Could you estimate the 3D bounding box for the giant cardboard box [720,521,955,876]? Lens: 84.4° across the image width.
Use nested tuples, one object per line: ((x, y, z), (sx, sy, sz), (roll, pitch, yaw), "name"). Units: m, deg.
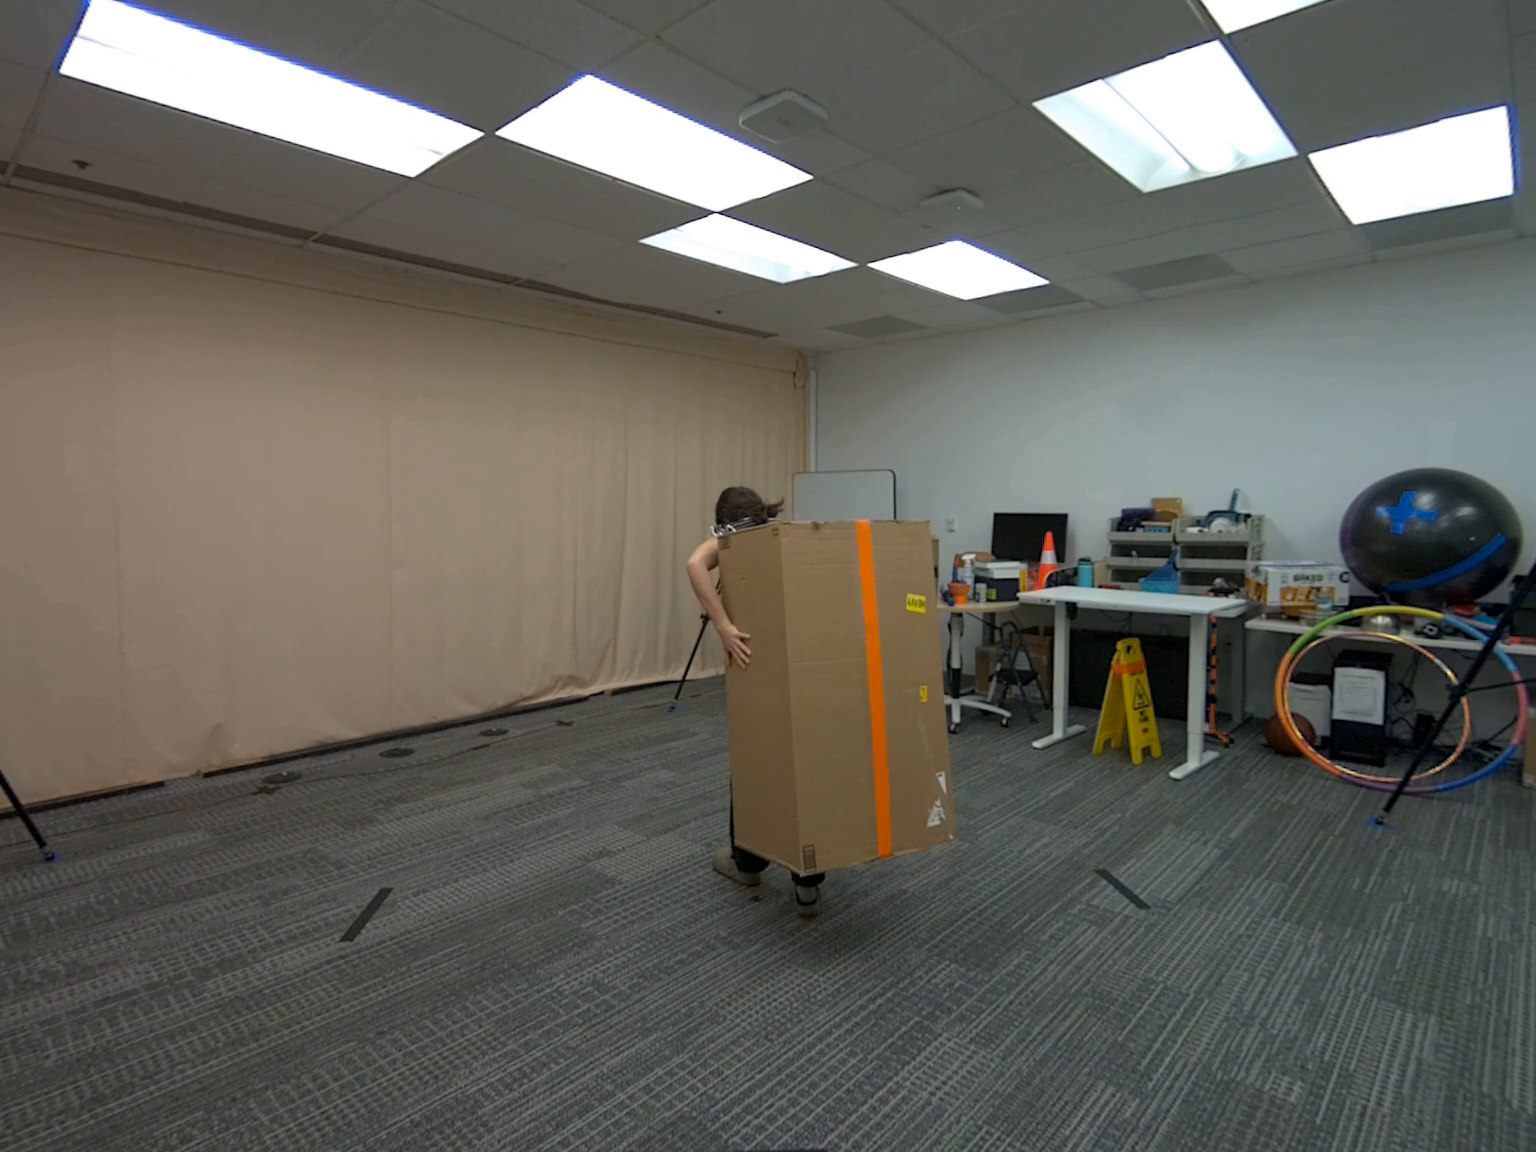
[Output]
((0.219, 0.354, 2.742), (0.563, 1.029, 0.436), (-1, -5, -28), "giant cardboard box")
